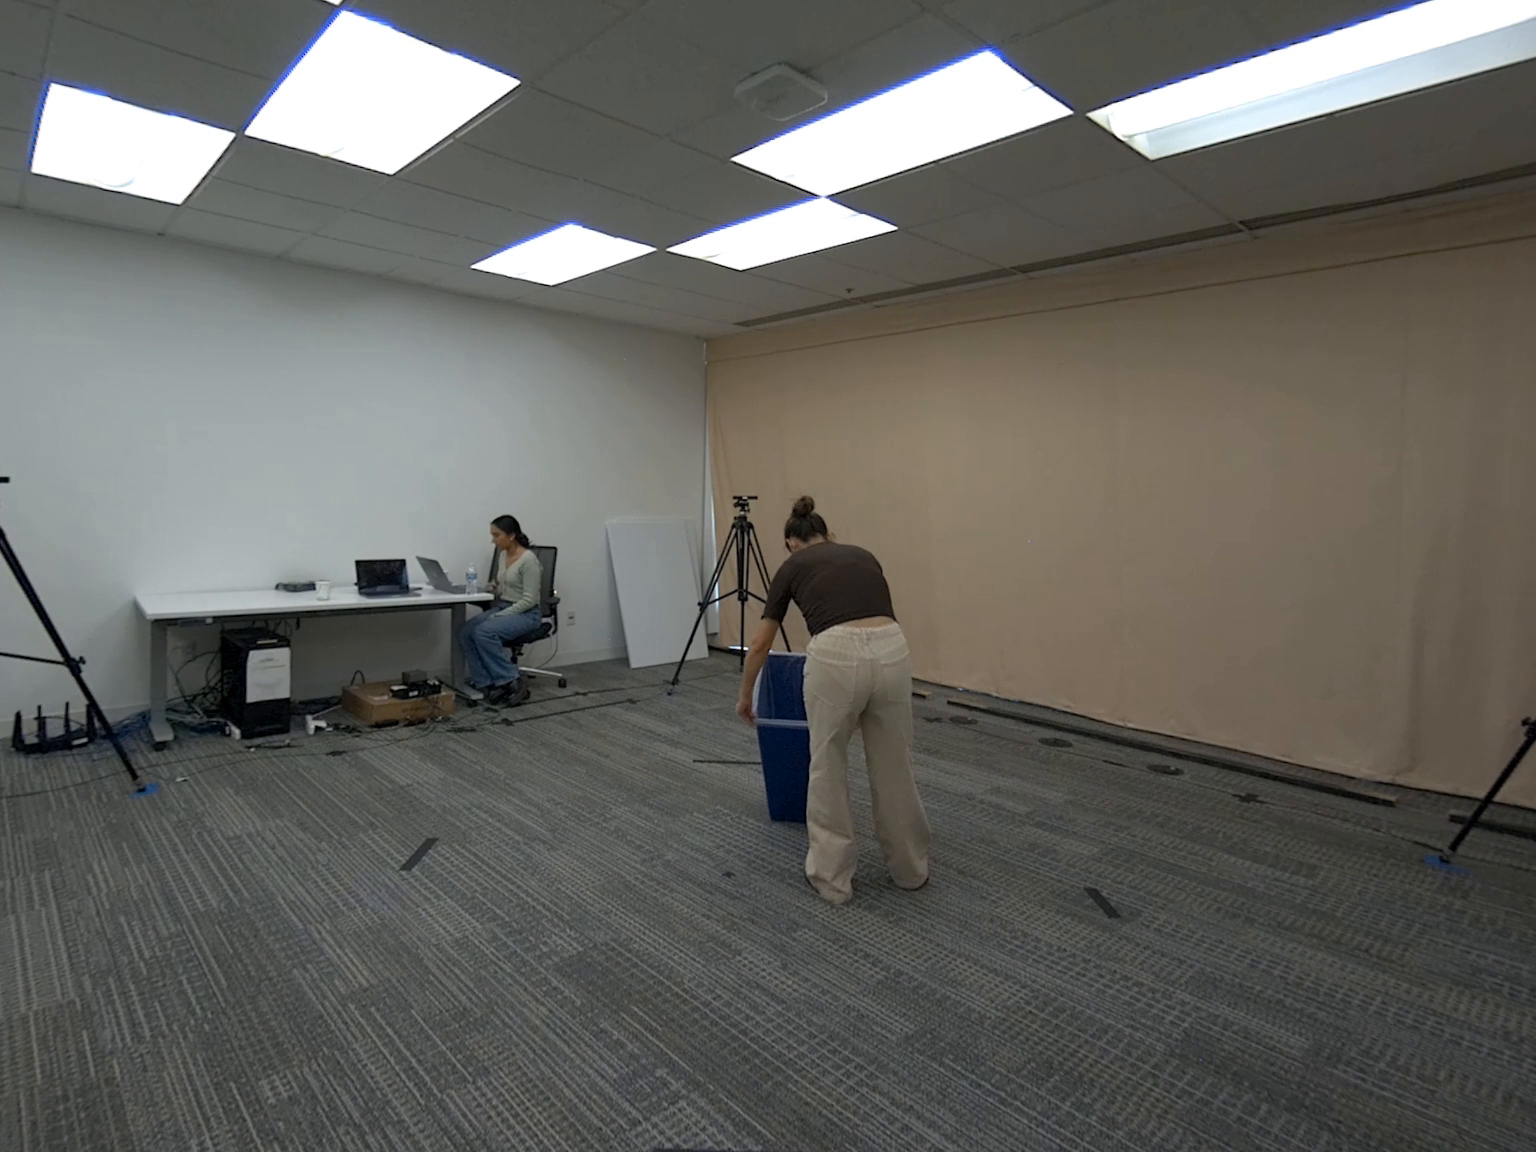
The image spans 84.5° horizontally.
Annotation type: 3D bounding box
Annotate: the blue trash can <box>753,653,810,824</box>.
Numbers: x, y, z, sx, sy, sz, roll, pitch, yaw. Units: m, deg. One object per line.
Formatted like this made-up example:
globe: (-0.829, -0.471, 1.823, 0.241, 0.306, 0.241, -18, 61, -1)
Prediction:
blue trash can: (0.147, 0.705, 3.517, 0.381, 0.696, 0.380, 1, 39, 8)
